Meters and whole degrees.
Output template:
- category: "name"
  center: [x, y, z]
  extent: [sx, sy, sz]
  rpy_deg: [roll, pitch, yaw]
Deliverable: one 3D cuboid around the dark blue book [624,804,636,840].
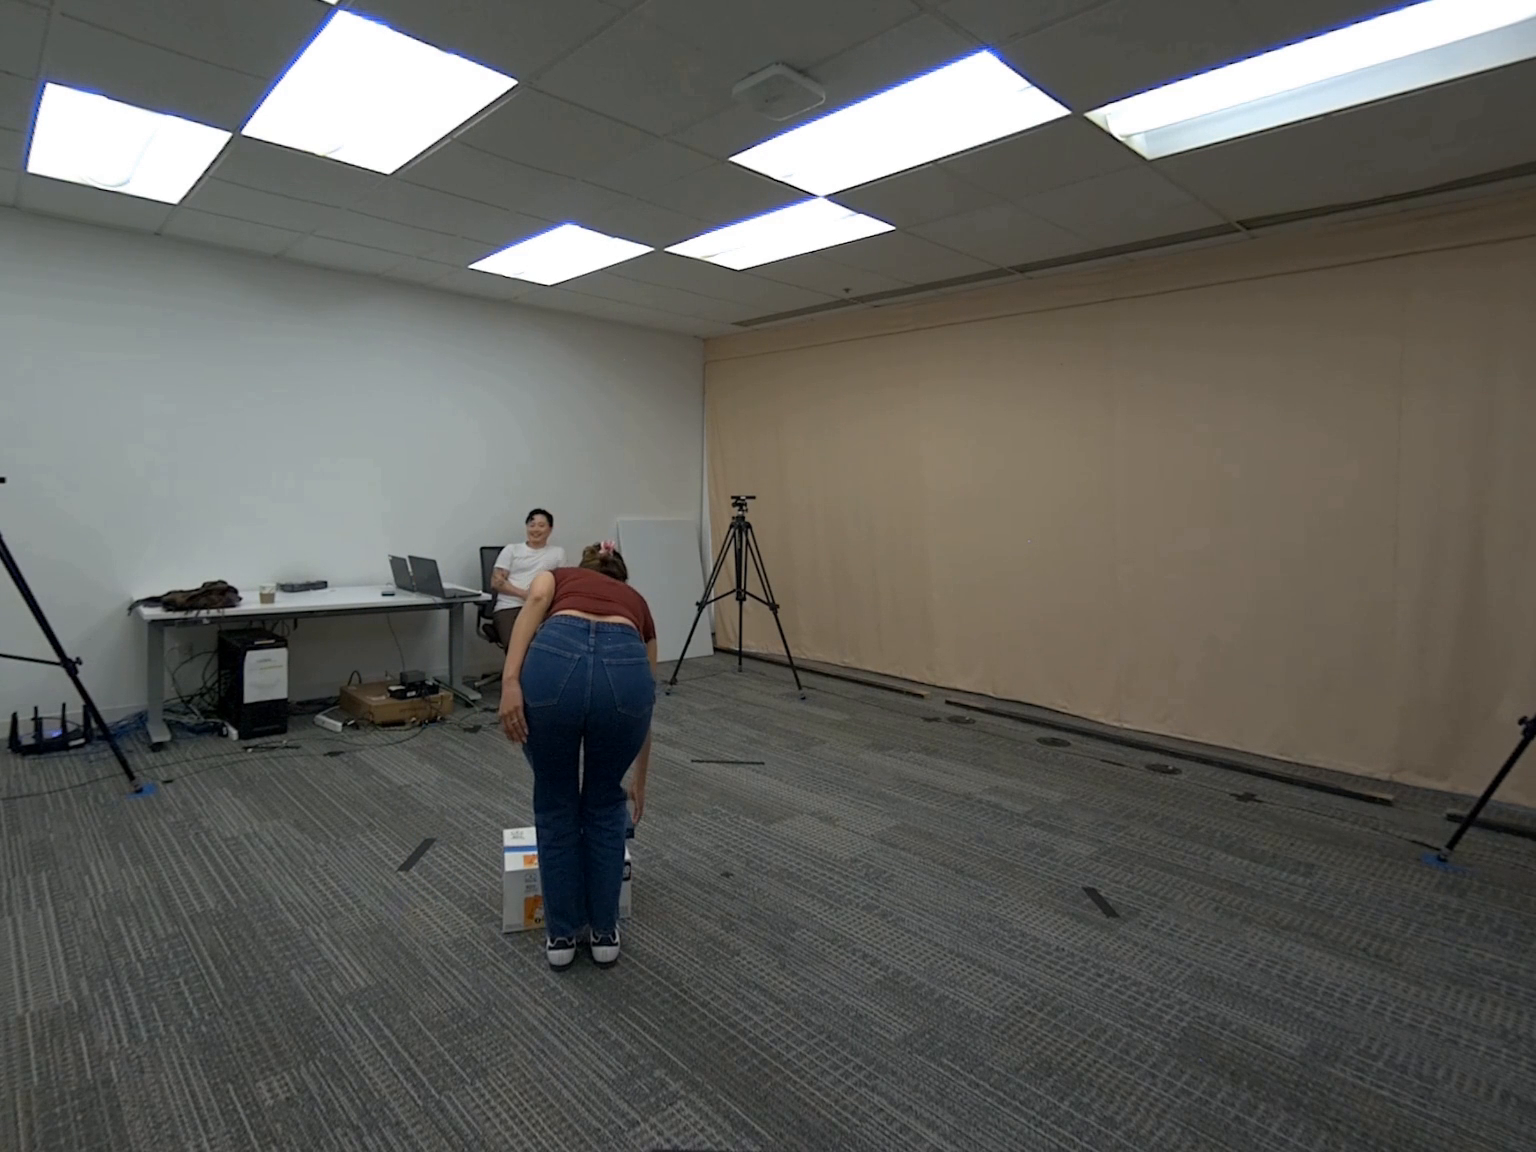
- category: "dark blue book"
  center: [-0.613, 0.891, 2.946]
  extent: [0.242, 0.045, 0.166]
  rpy_deg: [-2, 7, -16]
